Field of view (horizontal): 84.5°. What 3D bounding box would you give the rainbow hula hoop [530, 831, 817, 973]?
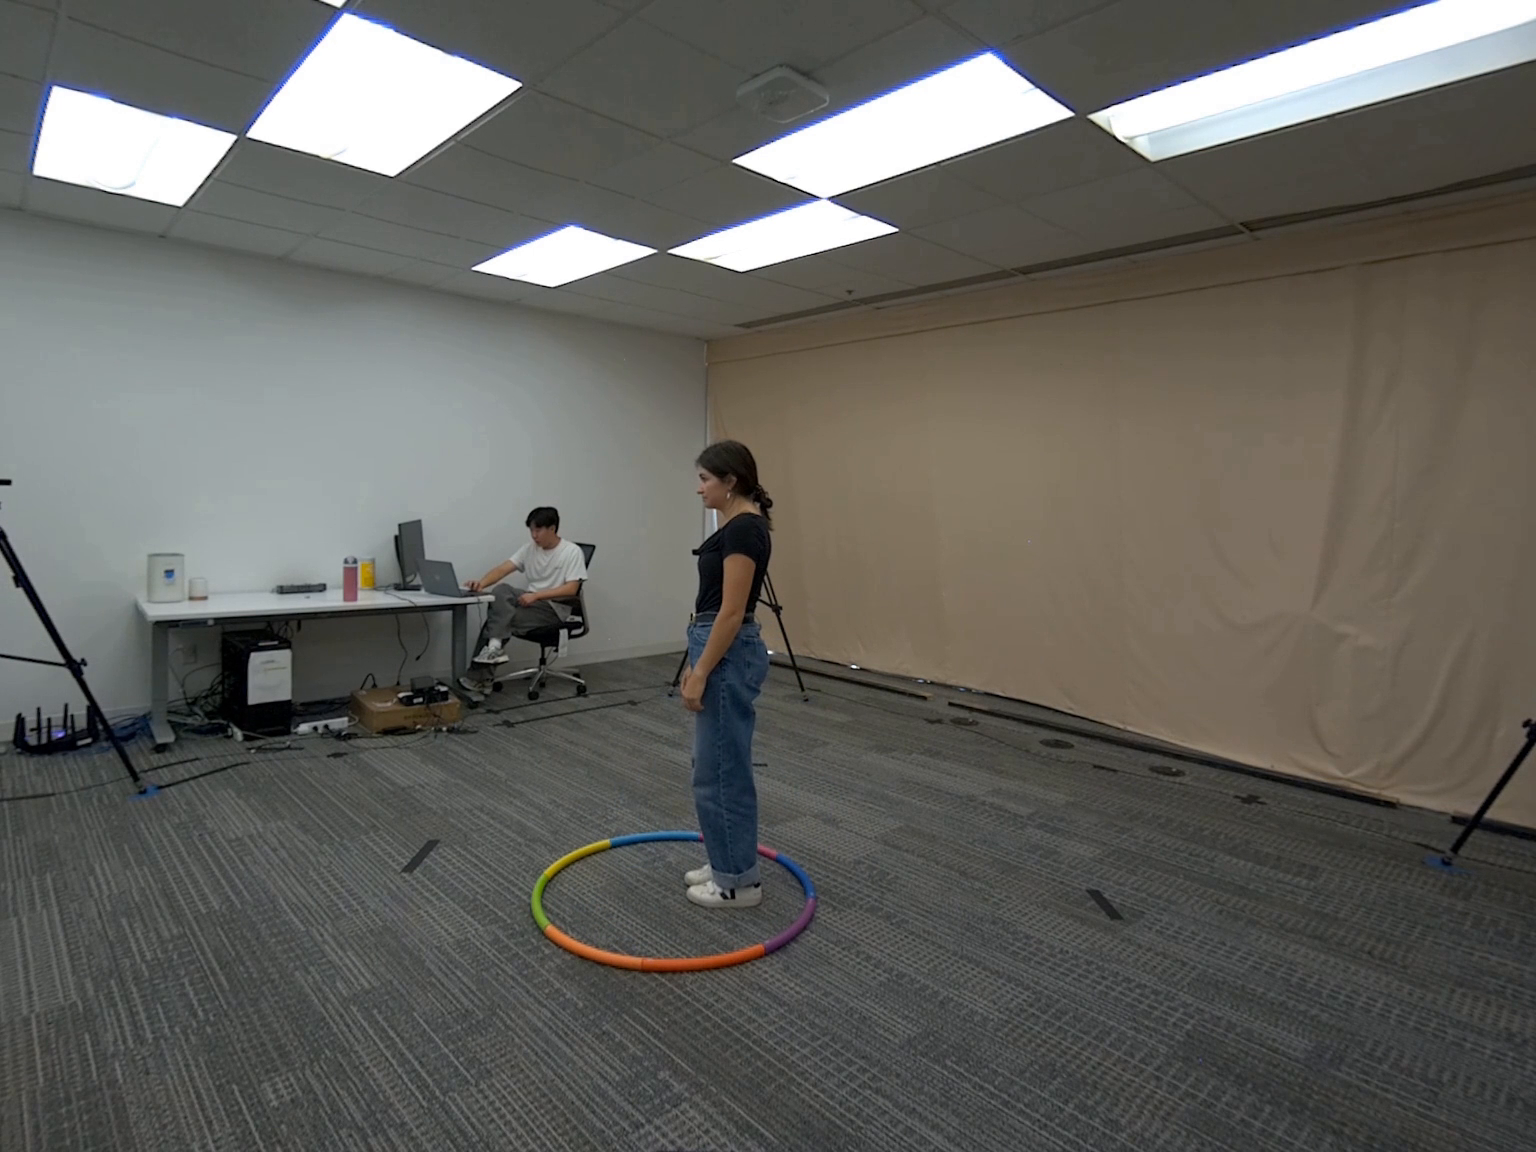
[{"bbox_3d":[-0.327,1.092,2.940,0.978,0.035,0.982,1,5,-1],"label":"rainbow hula hoop"}]
